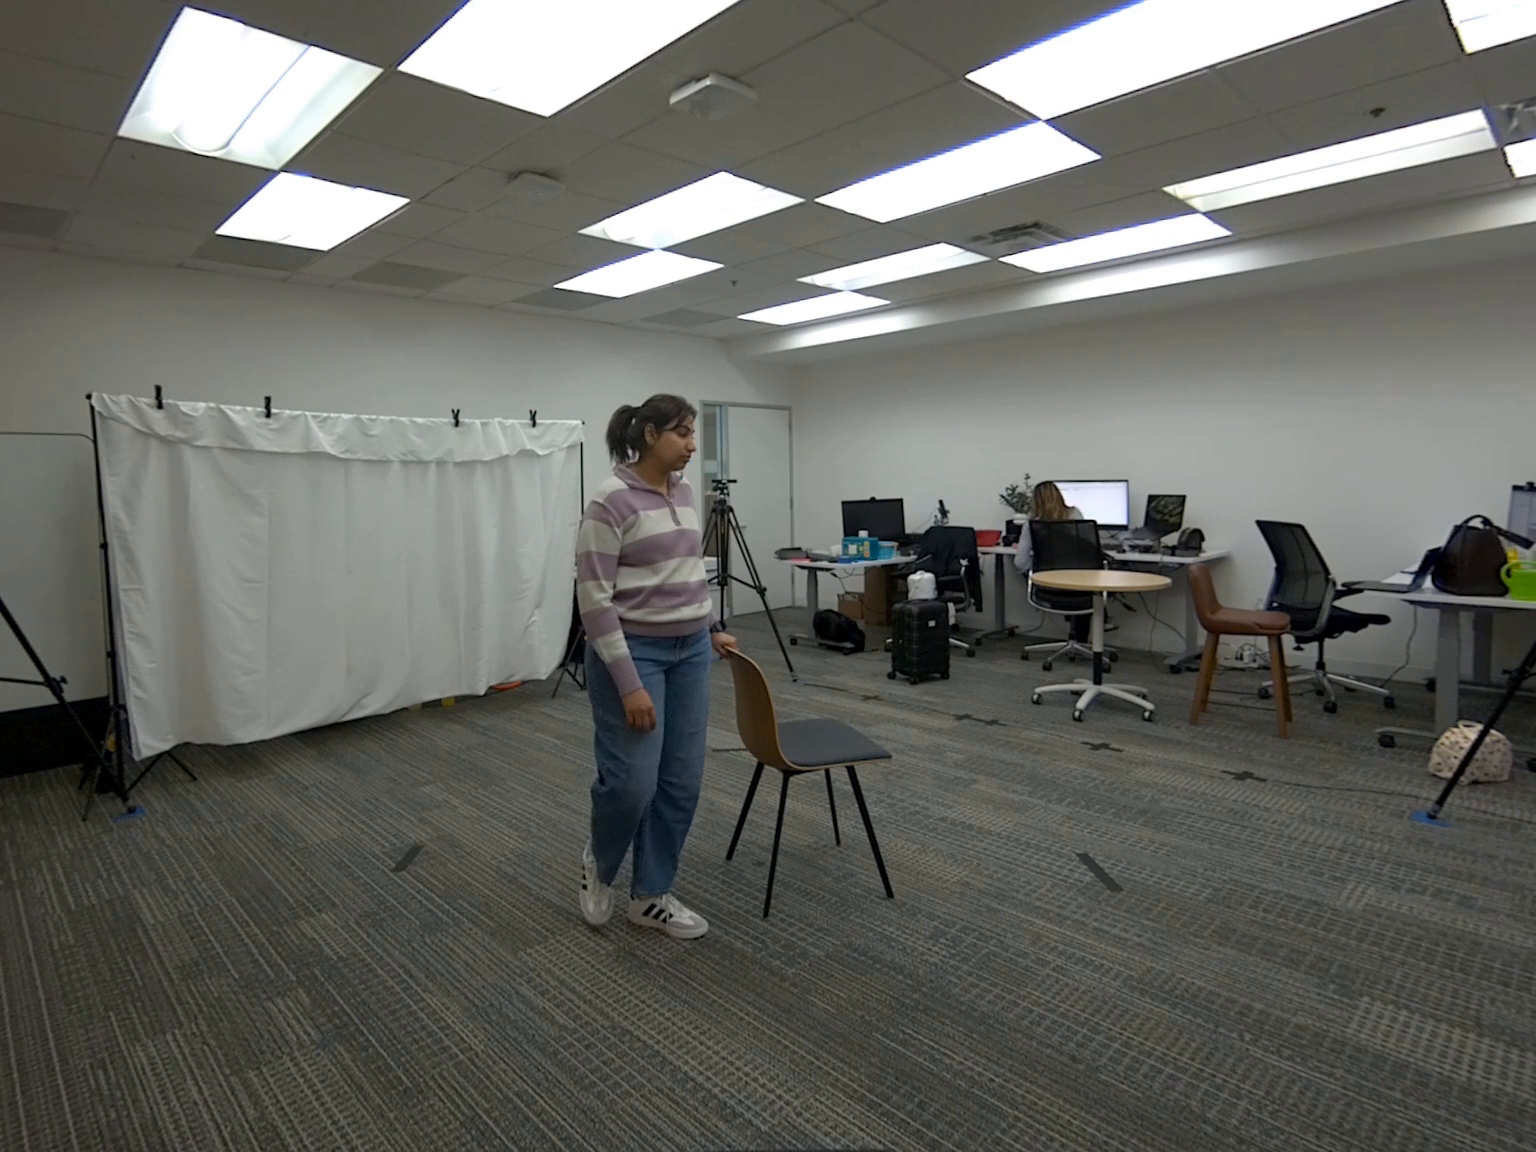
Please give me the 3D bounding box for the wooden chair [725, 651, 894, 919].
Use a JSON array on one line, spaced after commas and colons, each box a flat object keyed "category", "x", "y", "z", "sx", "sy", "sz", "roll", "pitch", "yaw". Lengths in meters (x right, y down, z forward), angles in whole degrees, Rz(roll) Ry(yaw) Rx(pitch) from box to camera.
[{"category": "wooden chair", "x": 0.133, "y": 0.632, "z": 2.966, "sx": 0.516, "sy": 0.873, "sz": 0.487, "roll": -6, "pitch": 5, "yaw": -16}]
